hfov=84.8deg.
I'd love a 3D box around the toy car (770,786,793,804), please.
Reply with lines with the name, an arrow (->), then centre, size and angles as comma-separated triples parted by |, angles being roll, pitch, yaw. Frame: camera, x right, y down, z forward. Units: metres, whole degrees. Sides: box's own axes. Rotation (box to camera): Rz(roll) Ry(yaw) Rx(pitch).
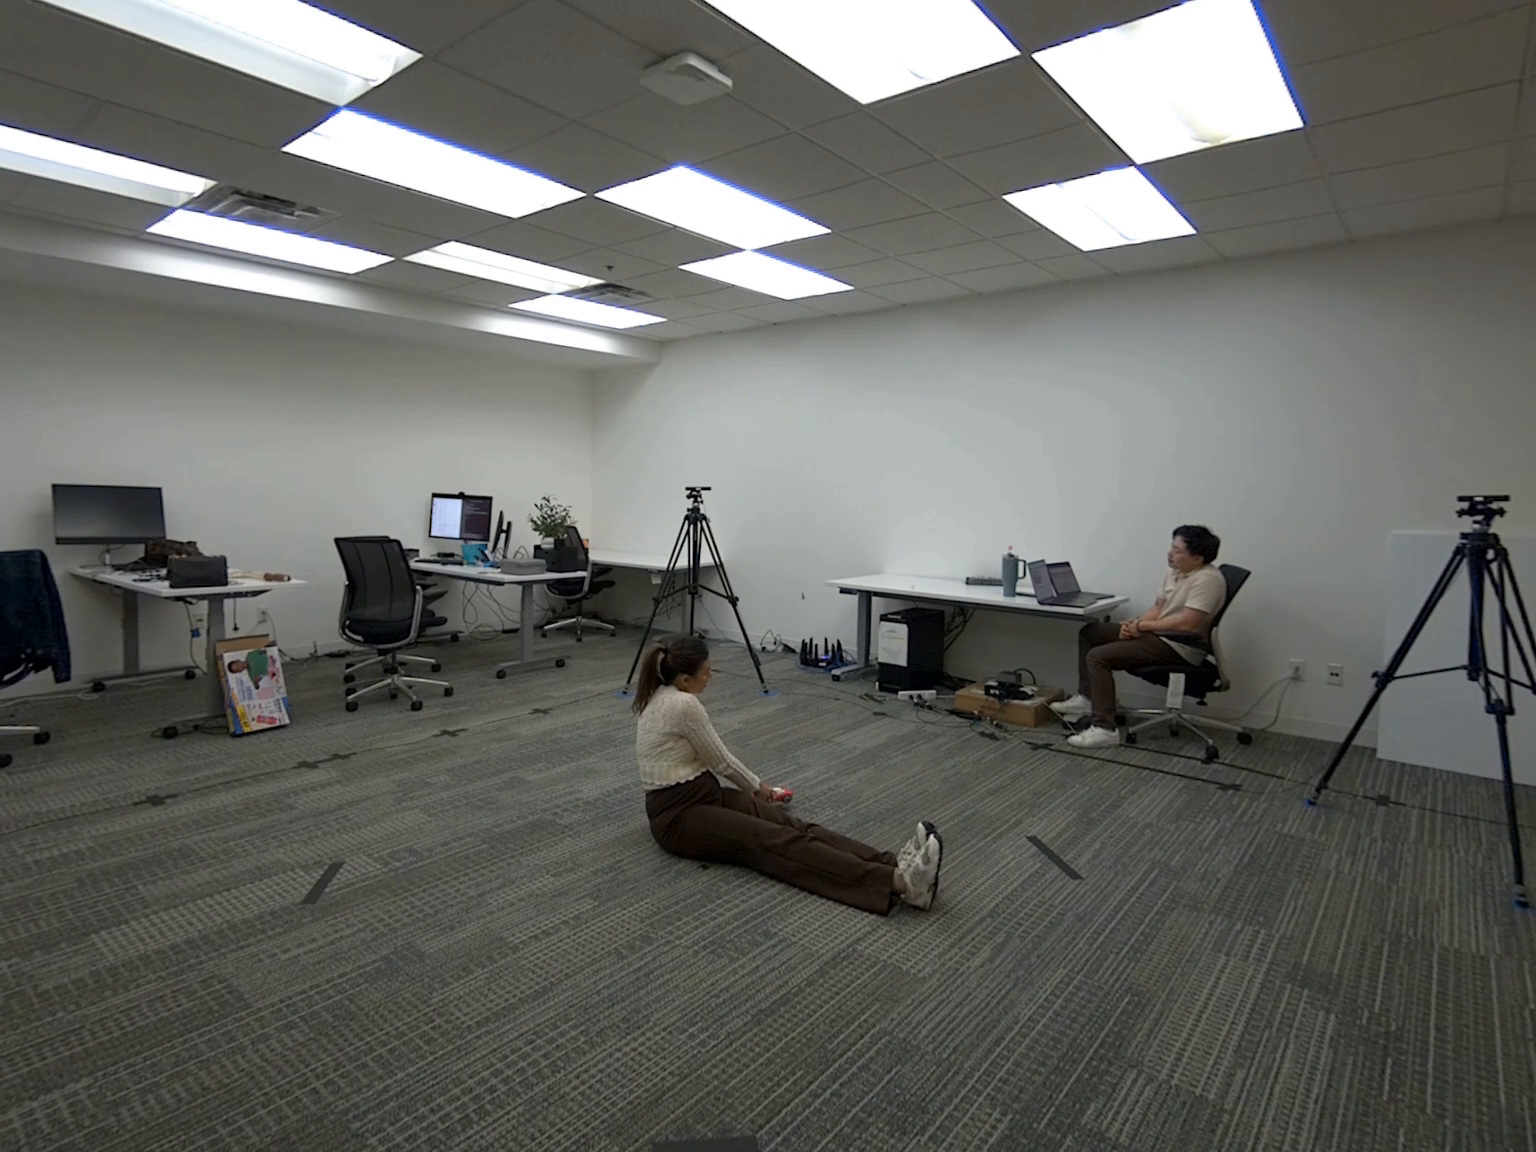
toy car -> -0.028, 0.952, 3.692 | 0.249, 0.083, 0.133 | 8, -4, -21
